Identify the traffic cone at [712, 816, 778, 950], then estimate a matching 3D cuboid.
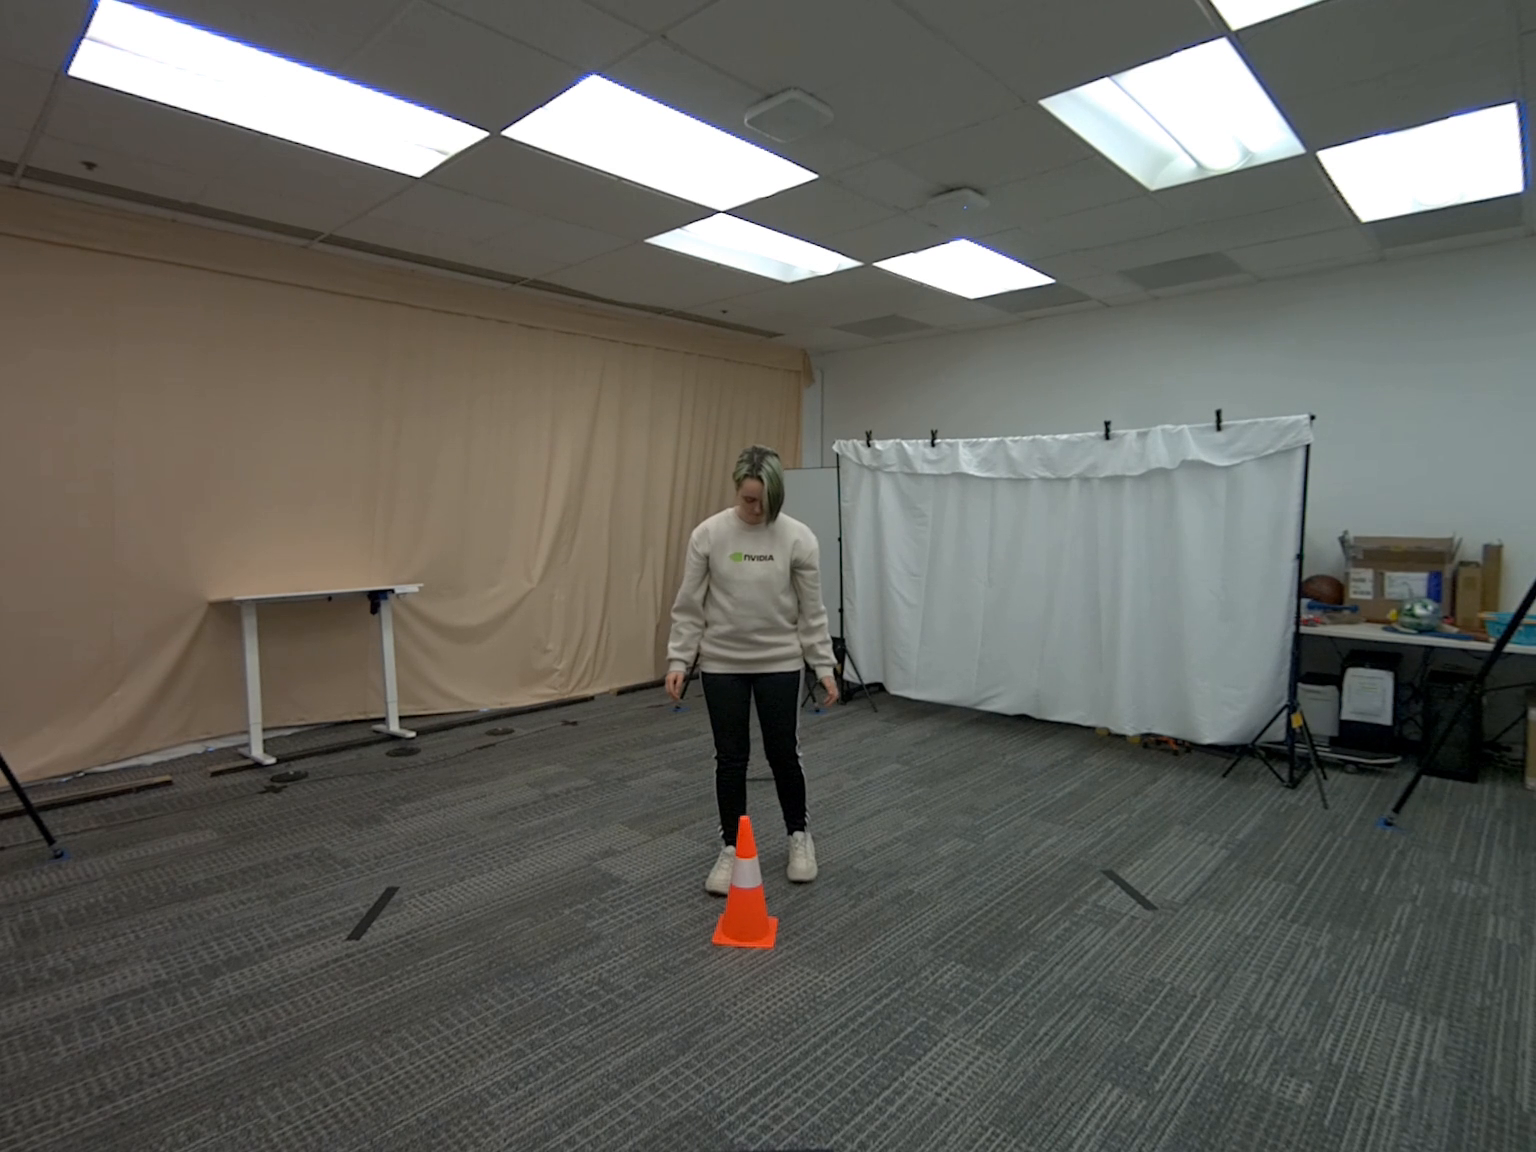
[{"bbox_3d":[-0.071,0.982,2.743,0.207,0.383,0.202,-1,4,8],"label":"traffic cone"}]
